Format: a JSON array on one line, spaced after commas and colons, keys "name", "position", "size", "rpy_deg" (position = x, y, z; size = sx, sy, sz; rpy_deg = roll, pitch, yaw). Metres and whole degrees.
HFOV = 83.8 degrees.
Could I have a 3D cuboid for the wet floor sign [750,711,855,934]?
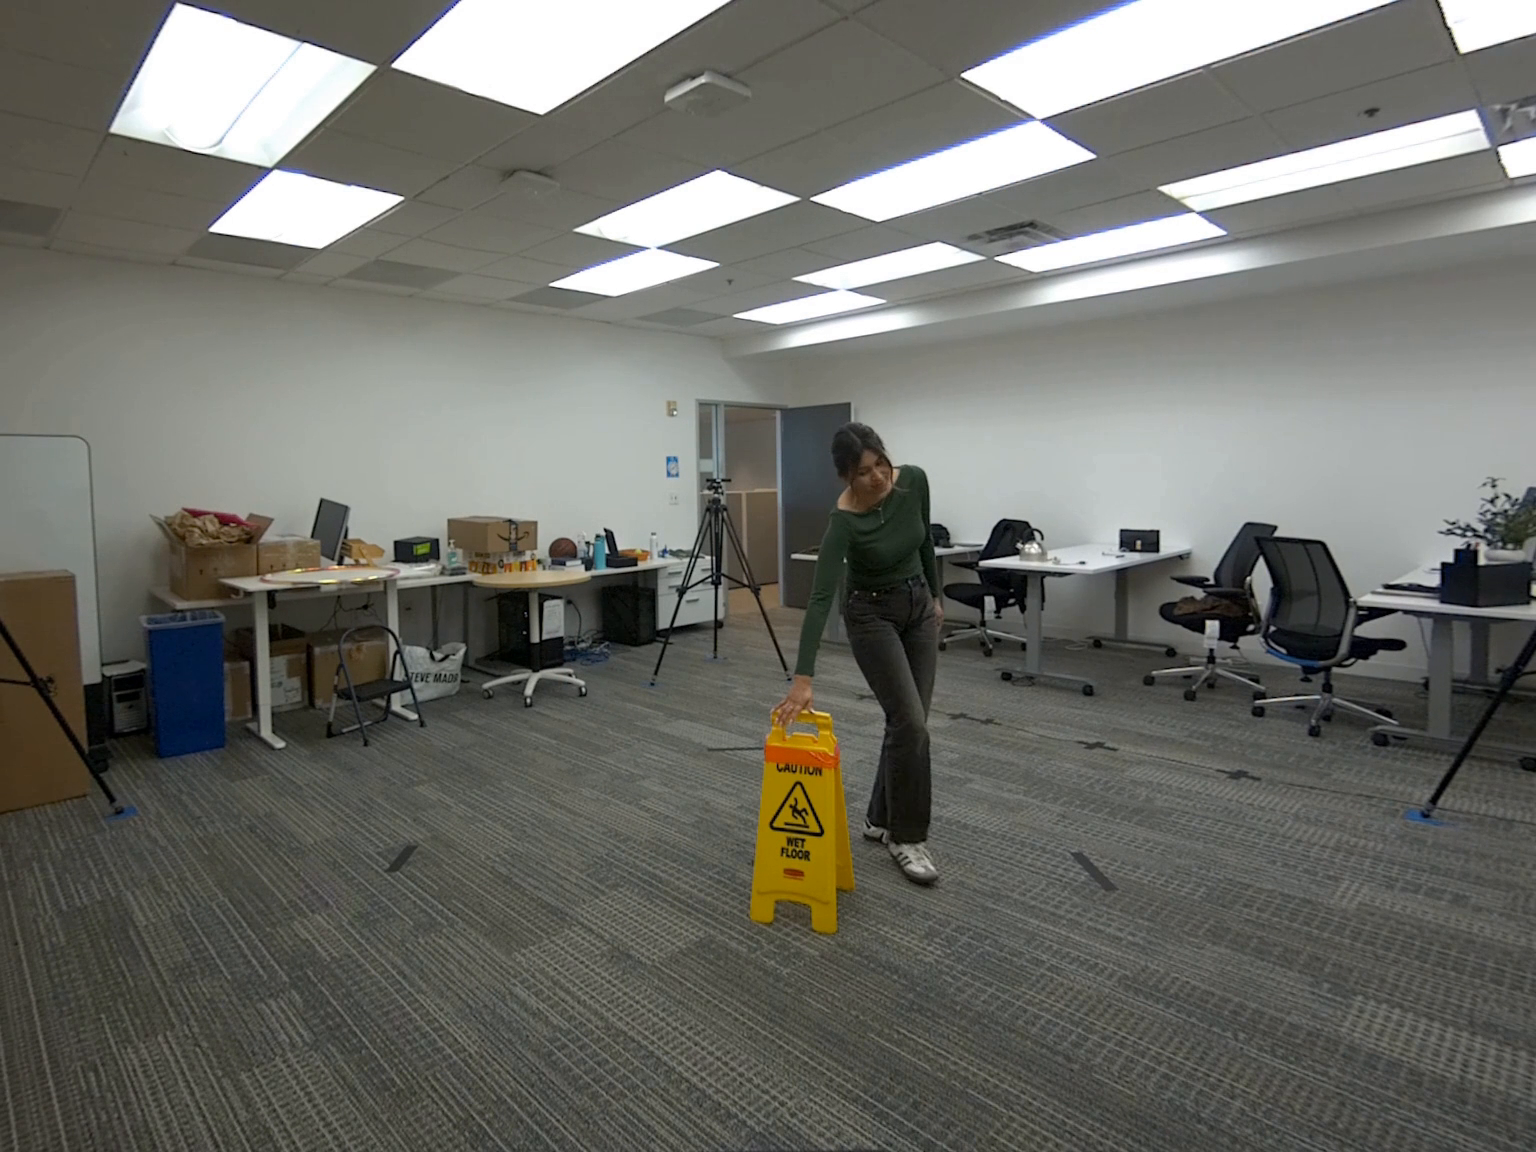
[{"name": "wet floor sign", "position": [0.118, 0.756, 2.781], "size": [0.287, 0.644, 0.285], "rpy_deg": [2, 4, 19]}]
